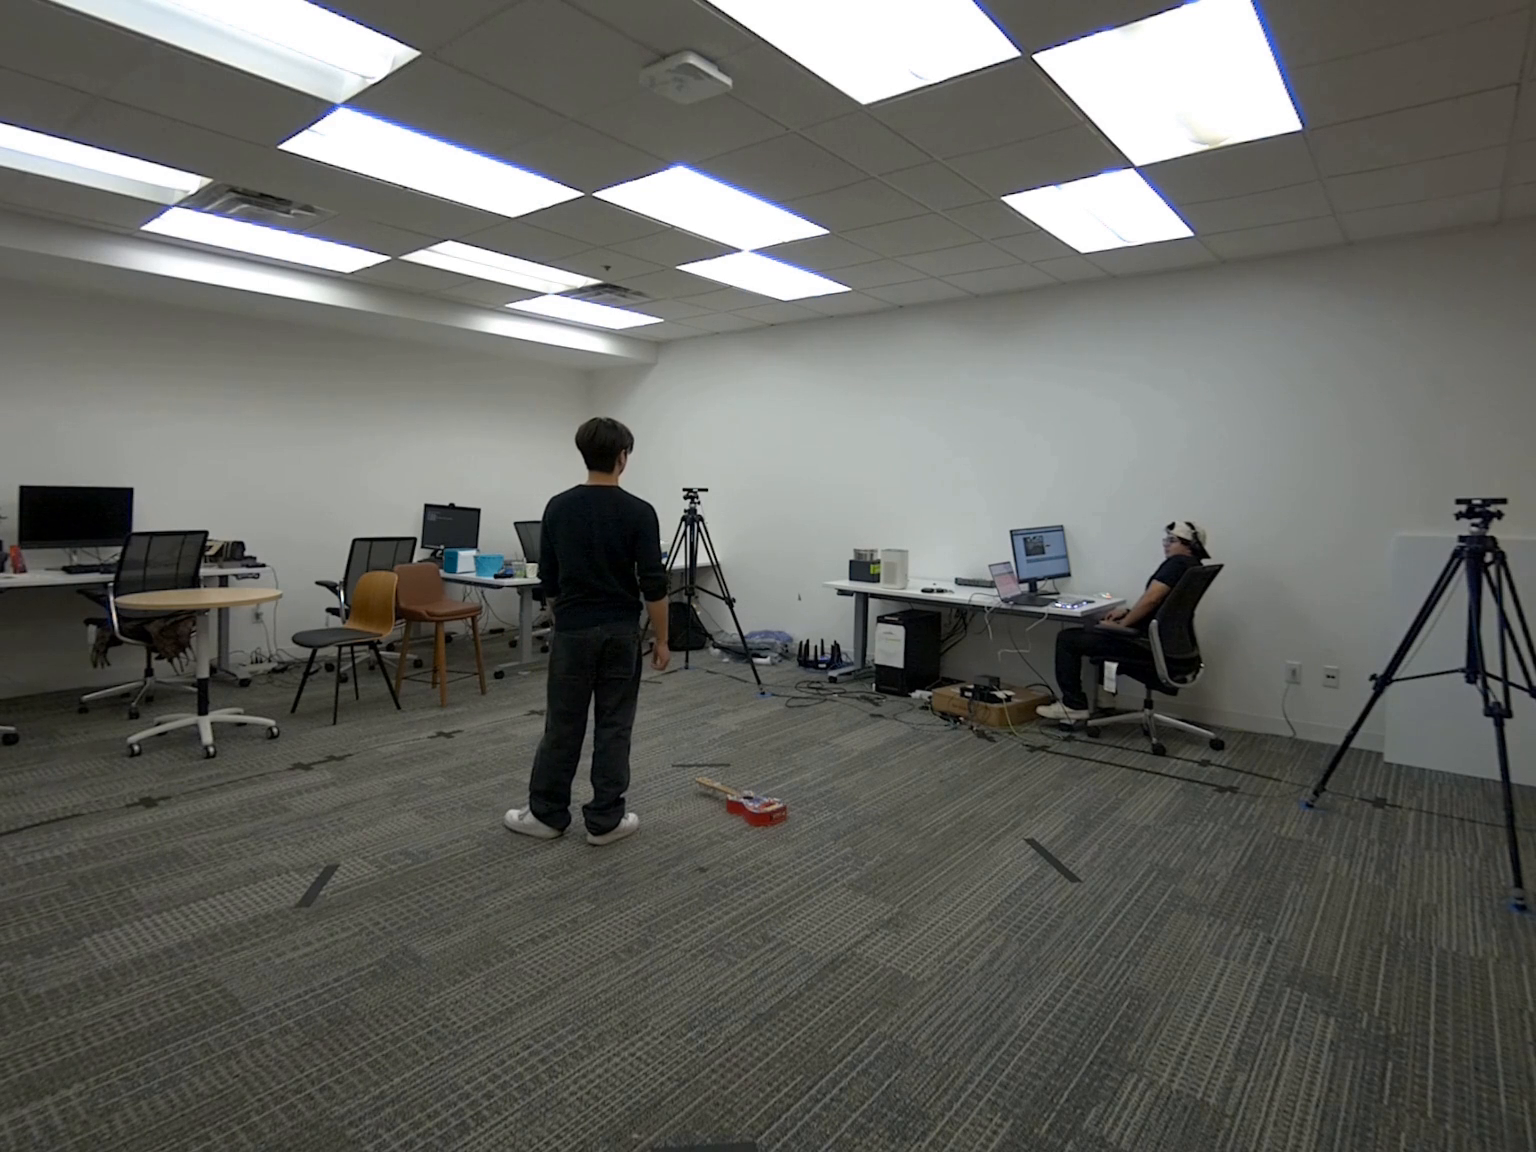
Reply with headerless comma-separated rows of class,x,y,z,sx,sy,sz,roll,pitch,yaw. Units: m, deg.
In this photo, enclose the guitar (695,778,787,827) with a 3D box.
guitar,-0.130,0.981,3.753,0.187,0.070,0.515,-3,8,-37
